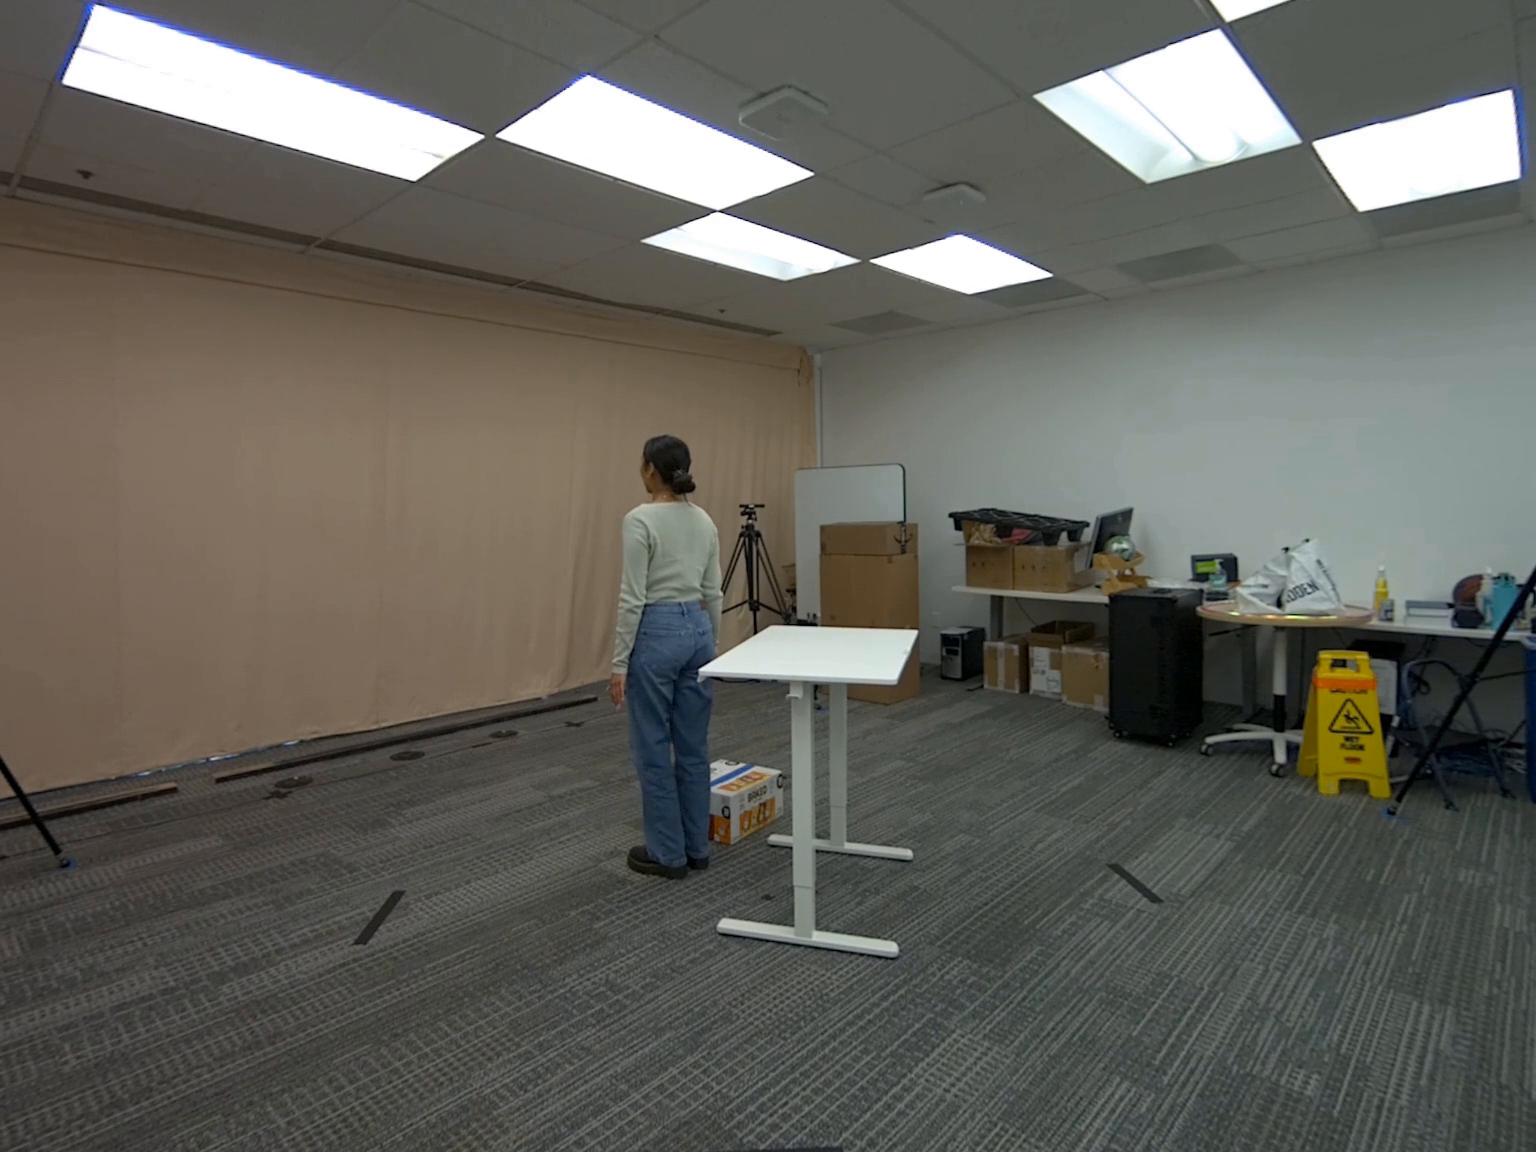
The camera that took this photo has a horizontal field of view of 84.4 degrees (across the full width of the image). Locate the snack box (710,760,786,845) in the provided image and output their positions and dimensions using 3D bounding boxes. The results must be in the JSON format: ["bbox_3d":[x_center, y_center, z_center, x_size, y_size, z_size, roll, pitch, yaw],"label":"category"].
[{"bbox_3d":[-0.184,0.981,3.697,0.351,0.205,0.394,2,5,34],"label":"snack box"}]
